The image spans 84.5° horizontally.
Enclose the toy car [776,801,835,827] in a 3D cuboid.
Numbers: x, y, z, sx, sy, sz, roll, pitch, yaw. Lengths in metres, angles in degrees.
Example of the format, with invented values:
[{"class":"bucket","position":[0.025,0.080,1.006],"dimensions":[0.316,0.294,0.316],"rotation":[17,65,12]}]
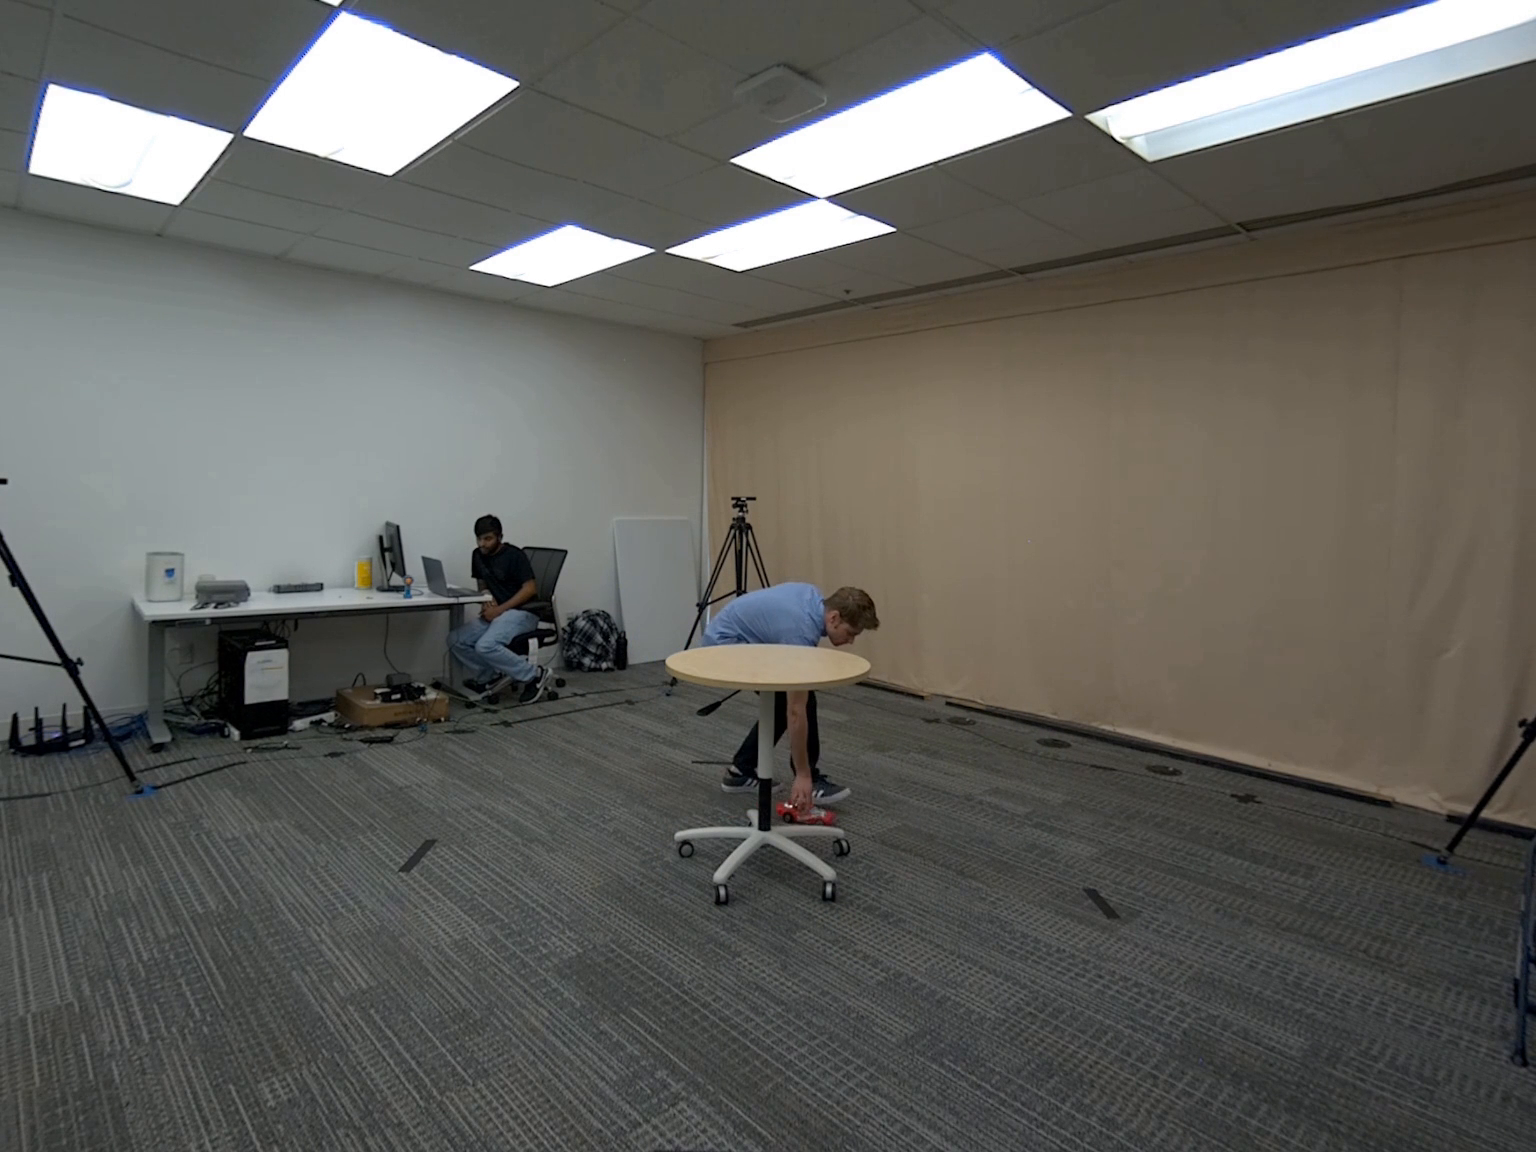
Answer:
[{"class":"toy car","position":[0.144,1.038,3.658],"dimensions":[0.260,0.083,0.128],"rotation":[15,10,24]}]
